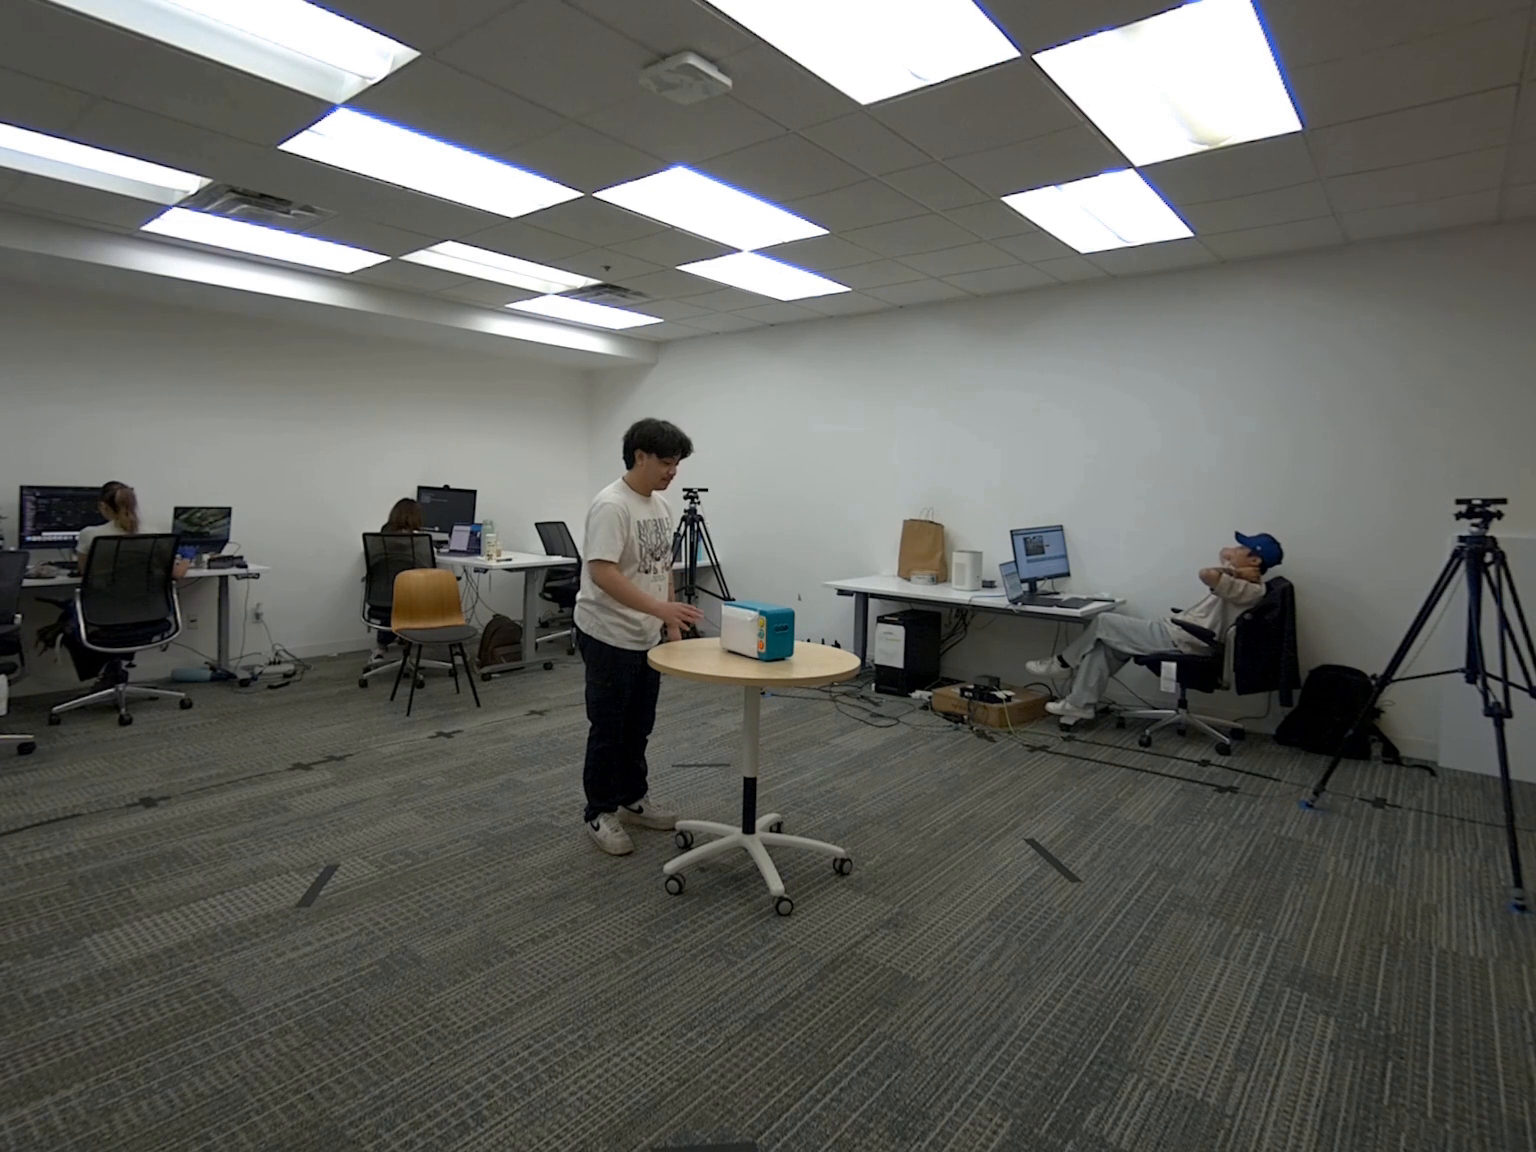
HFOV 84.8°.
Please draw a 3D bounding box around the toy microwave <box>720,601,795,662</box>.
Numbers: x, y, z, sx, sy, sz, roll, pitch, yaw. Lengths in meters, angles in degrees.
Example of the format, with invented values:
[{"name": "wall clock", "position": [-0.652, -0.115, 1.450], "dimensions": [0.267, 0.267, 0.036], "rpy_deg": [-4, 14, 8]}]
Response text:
[{"name": "toy microwave", "position": [-0.055, 0.191, 3.077], "dimensions": [0.148, 0.183, 0.296], "rpy_deg": [-2, 6, -37]}]
